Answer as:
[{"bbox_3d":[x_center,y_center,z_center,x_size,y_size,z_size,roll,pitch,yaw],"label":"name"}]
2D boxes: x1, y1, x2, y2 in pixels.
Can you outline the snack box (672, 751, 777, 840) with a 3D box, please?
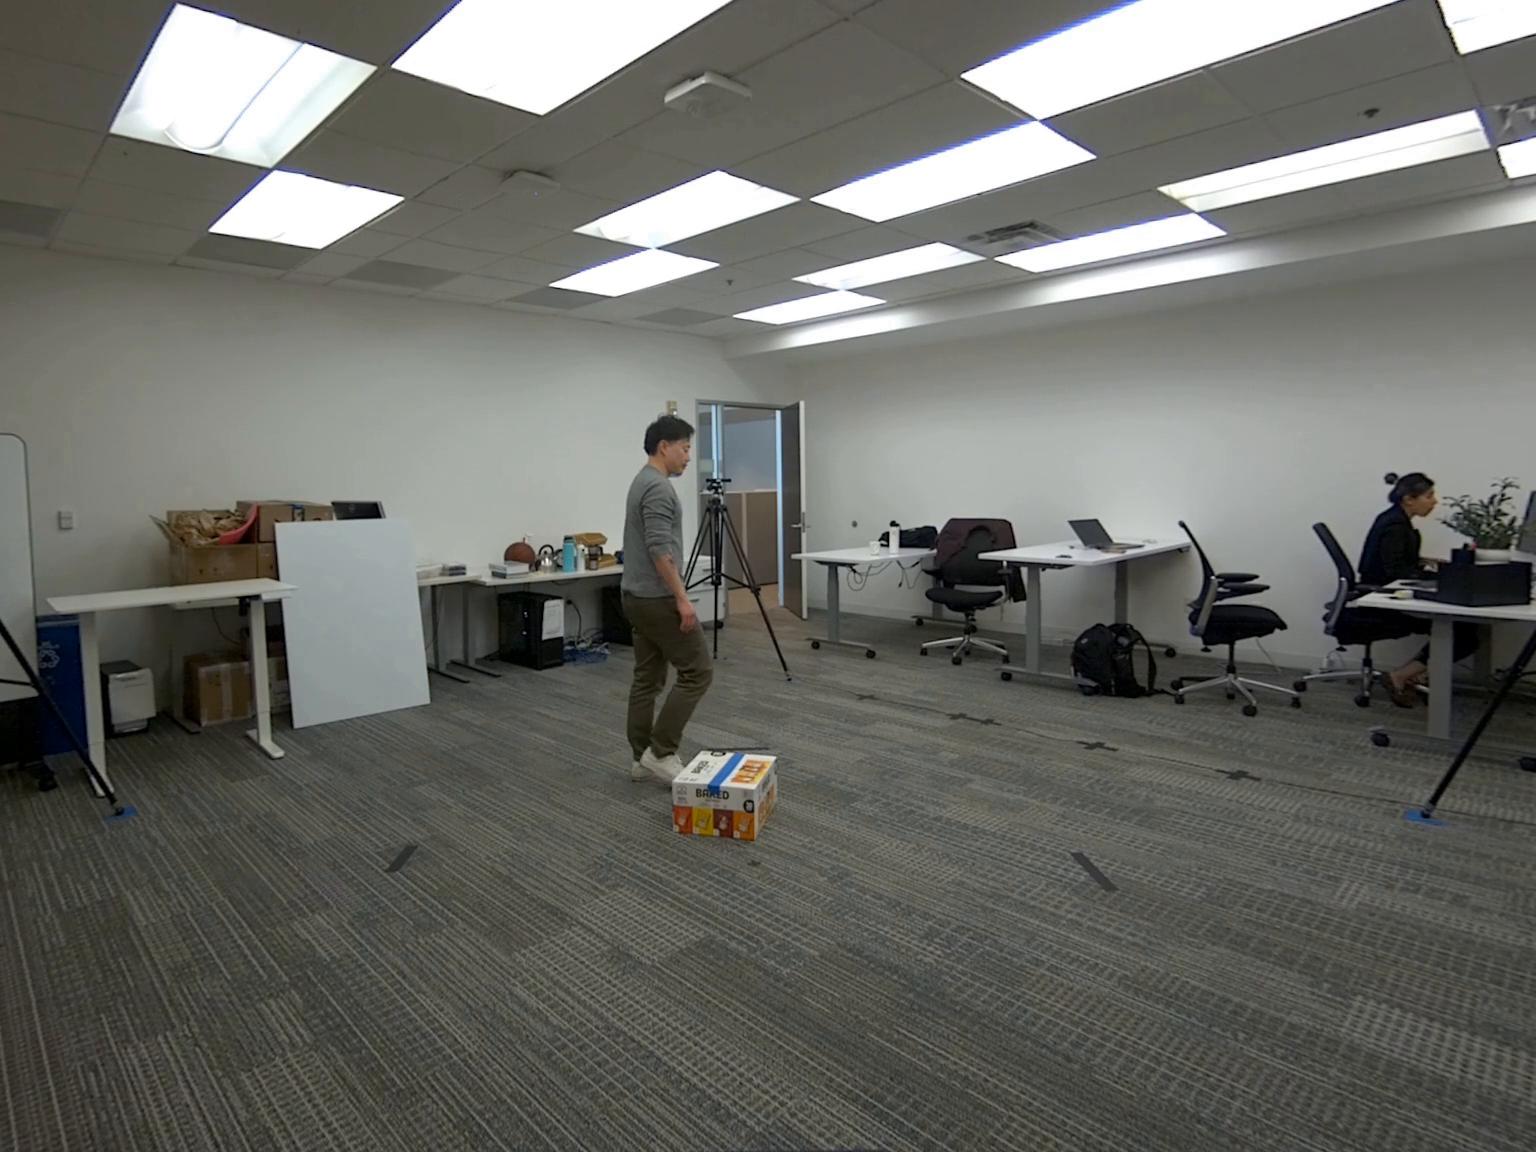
[{"bbox_3d":[-0.173,0.900,3.537,0.345,0.205,0.401,1,6,14],"label":"snack box"}]
